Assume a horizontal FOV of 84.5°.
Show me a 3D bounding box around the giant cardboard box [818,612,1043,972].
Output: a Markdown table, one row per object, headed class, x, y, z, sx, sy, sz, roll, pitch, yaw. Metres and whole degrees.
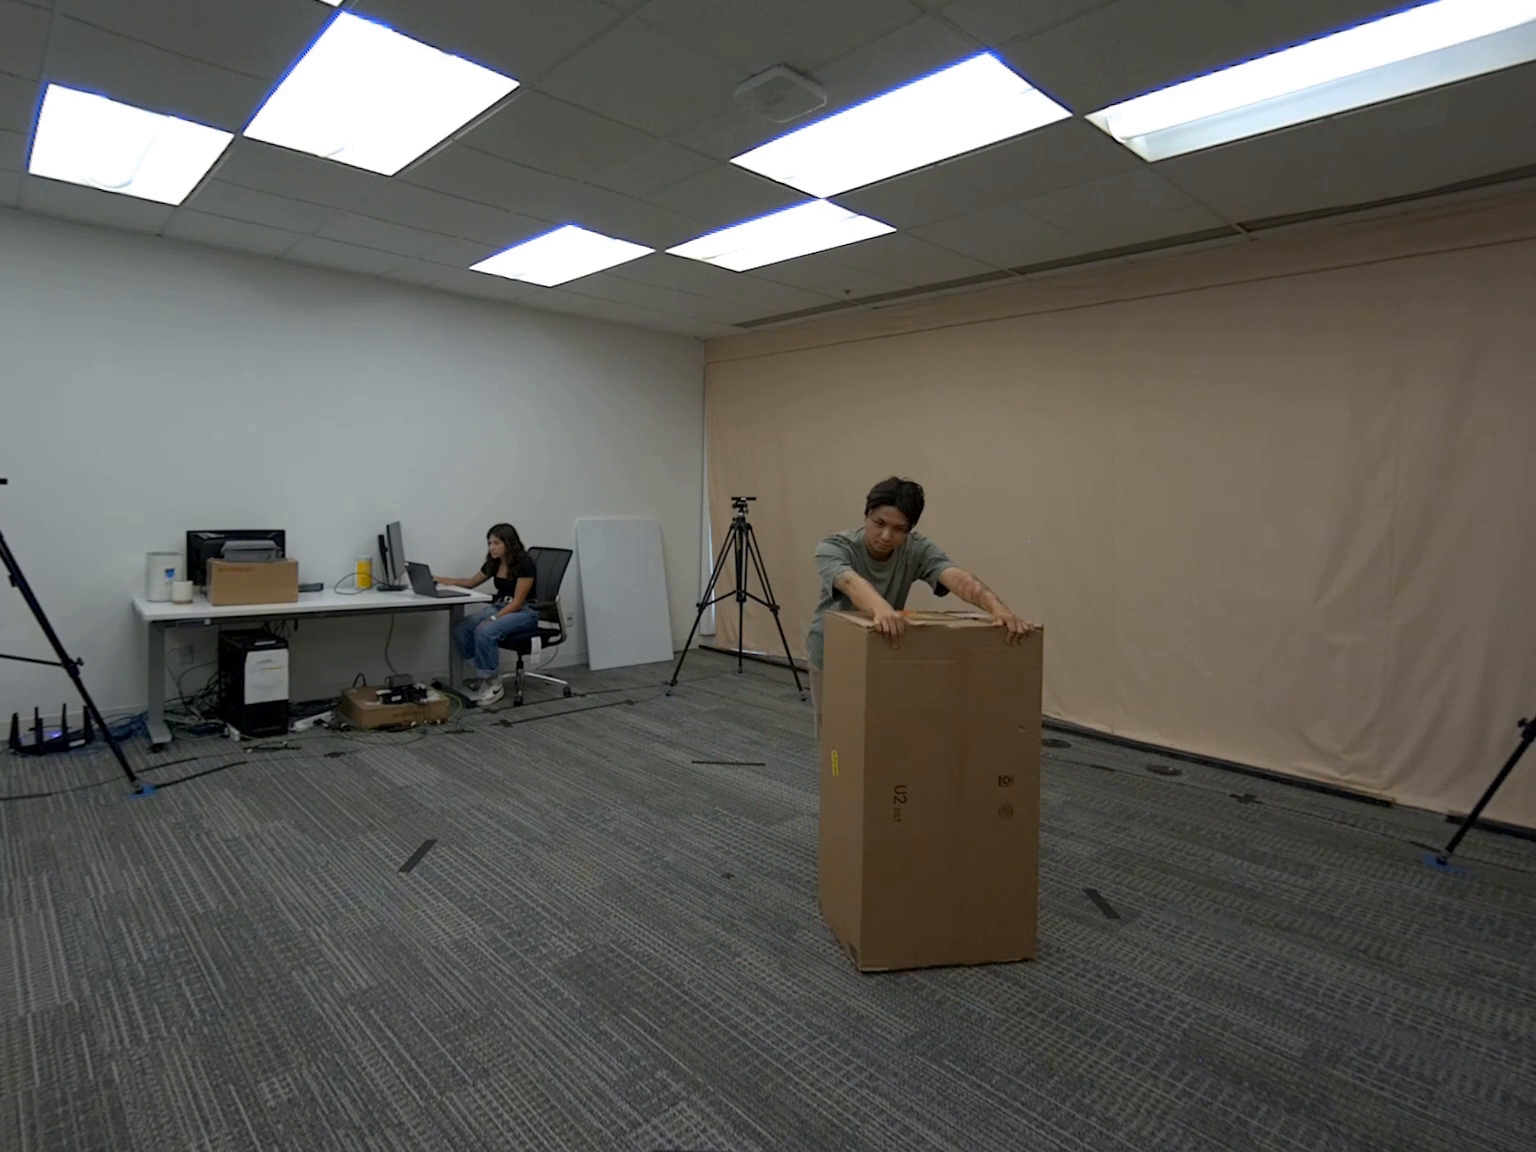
| class | x | y | z | sx | sy | sz | roll | pitch | yaw |
| --- | --- | --- | --- | --- | --- | --- | --- | --- | --- |
| giant cardboard box | 0.498 | 0.639 | 2.717 | 0.572 | 1.024 | 0.430 | 1 | 2 | -11 |
